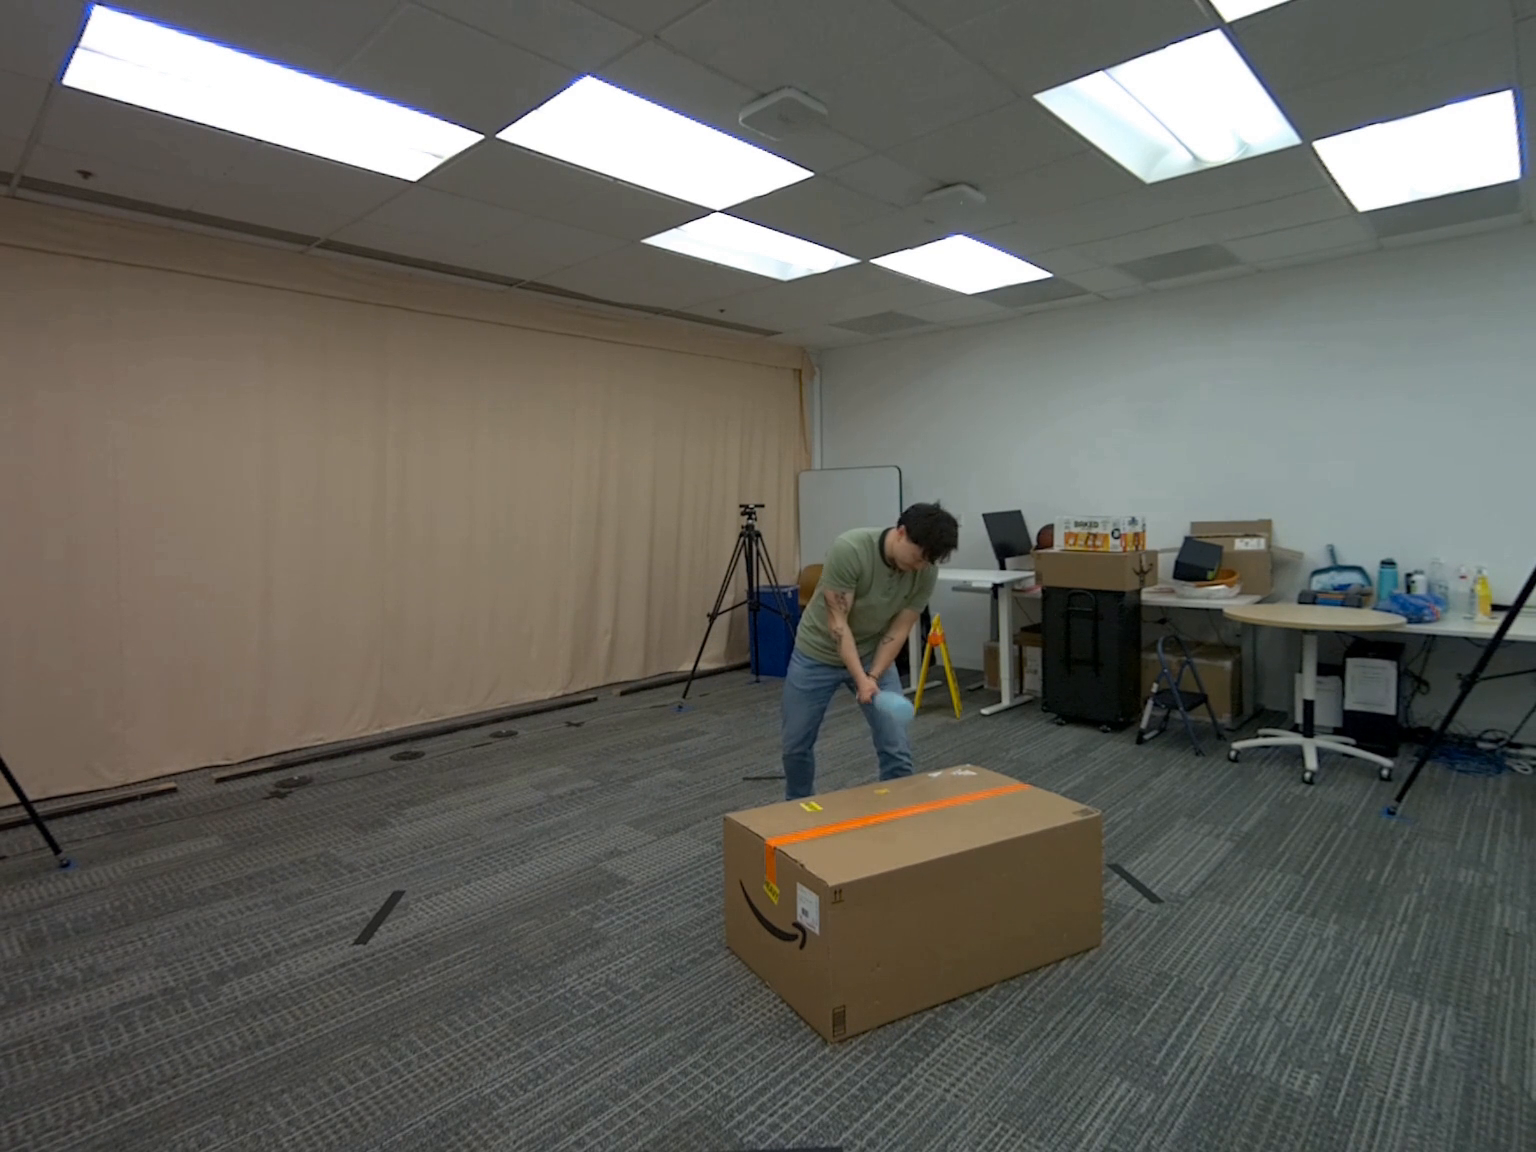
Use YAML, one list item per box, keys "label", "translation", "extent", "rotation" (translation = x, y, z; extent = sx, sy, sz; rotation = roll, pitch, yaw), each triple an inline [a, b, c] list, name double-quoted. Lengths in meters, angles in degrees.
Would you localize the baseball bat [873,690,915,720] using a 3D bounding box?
- label: "baseball bat"
  translation: [0.386, 0.403, 2.997]
  extent: [0.089, 0.089, 0.543]
  rotation: [-1, -2, -4]
